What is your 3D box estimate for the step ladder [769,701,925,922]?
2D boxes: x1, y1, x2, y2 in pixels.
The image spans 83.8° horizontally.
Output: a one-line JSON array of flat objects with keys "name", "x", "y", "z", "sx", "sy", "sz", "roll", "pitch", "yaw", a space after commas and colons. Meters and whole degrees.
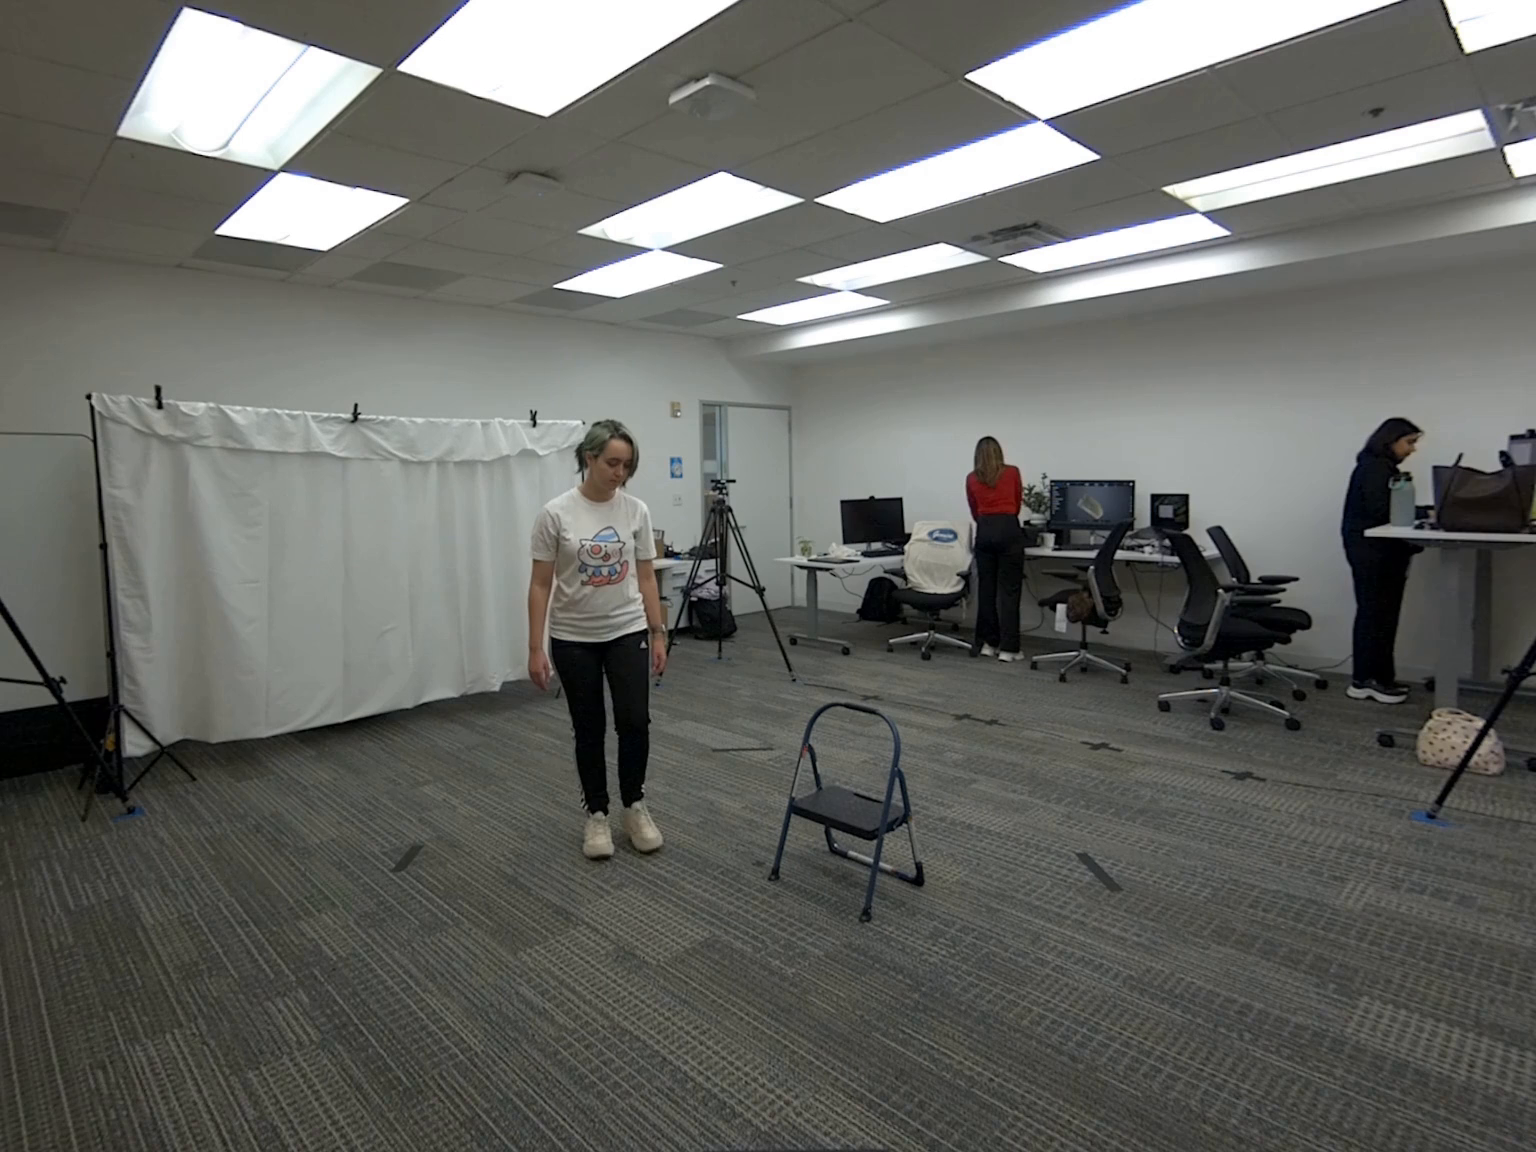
[{"name": "step ladder", "x": 0.268, "y": 0.758, "z": 2.934, "sx": 0.444, "sy": 0.603, "sz": 0.340, "roll": 3, "pitch": 7, "yaw": 45}]
